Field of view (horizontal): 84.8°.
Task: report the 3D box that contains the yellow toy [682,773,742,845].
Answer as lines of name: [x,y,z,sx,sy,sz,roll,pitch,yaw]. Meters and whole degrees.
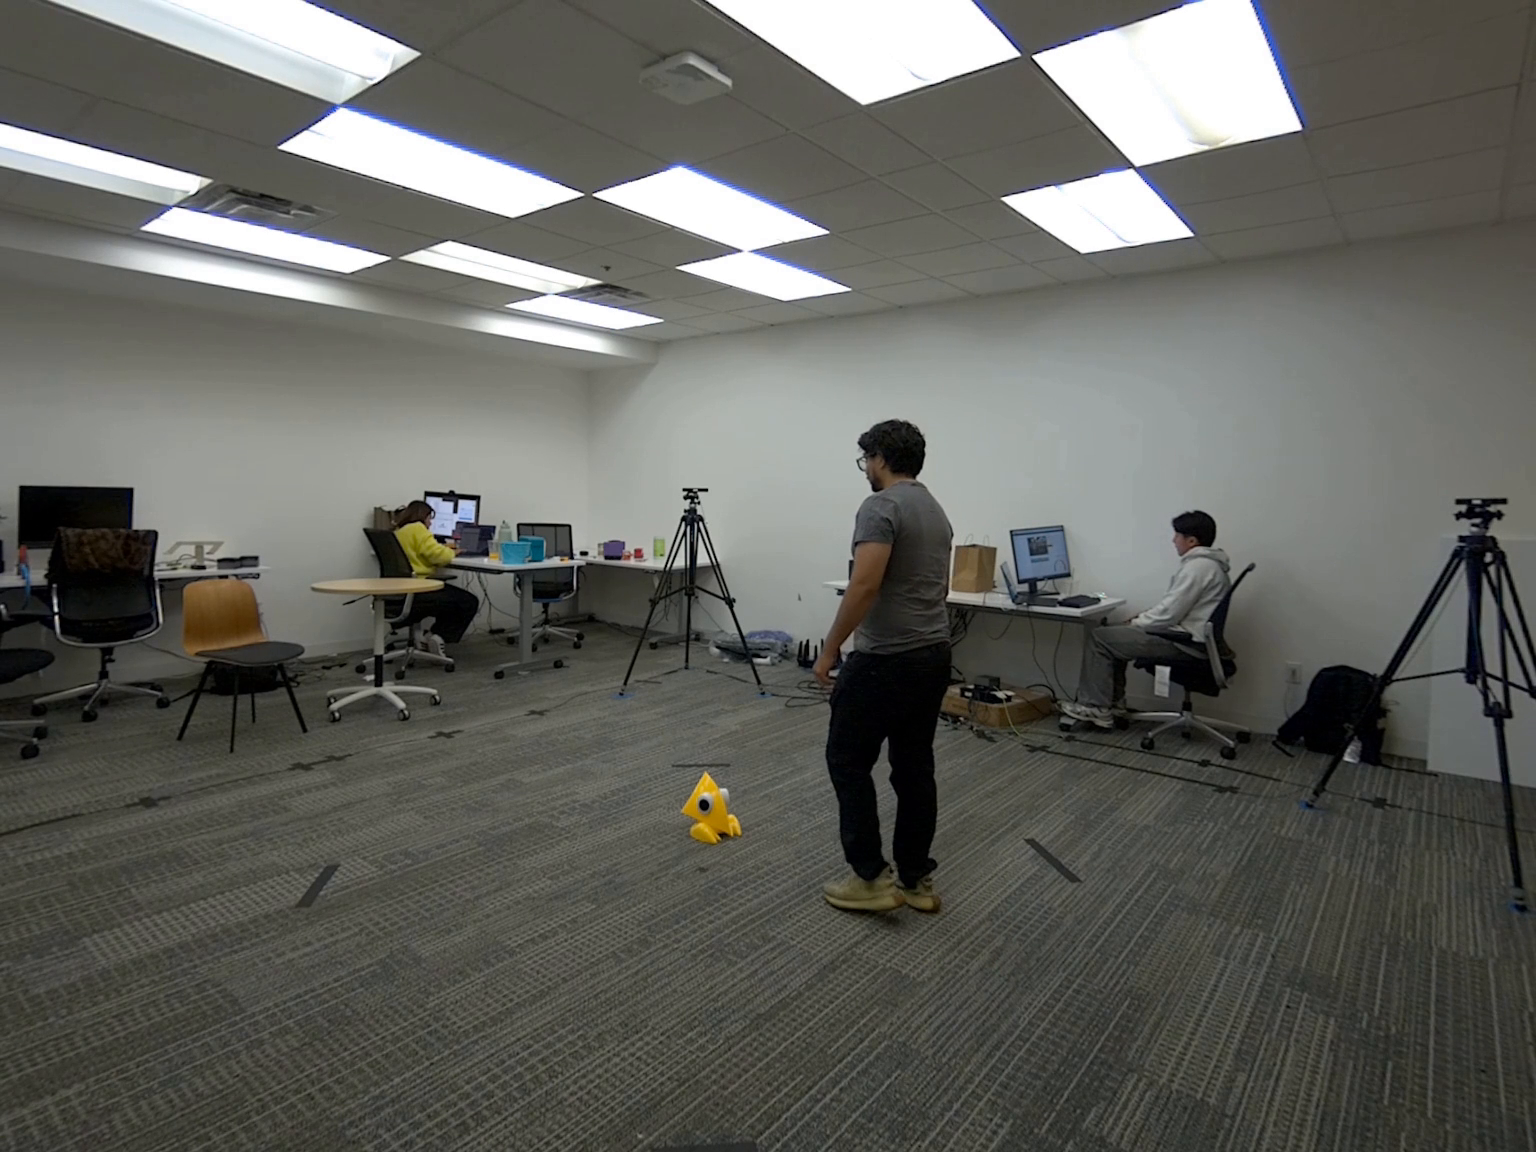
yellow toy: [-0.228,0.925,3.449,0.199,0.230,0.200,-3,6,-41]
